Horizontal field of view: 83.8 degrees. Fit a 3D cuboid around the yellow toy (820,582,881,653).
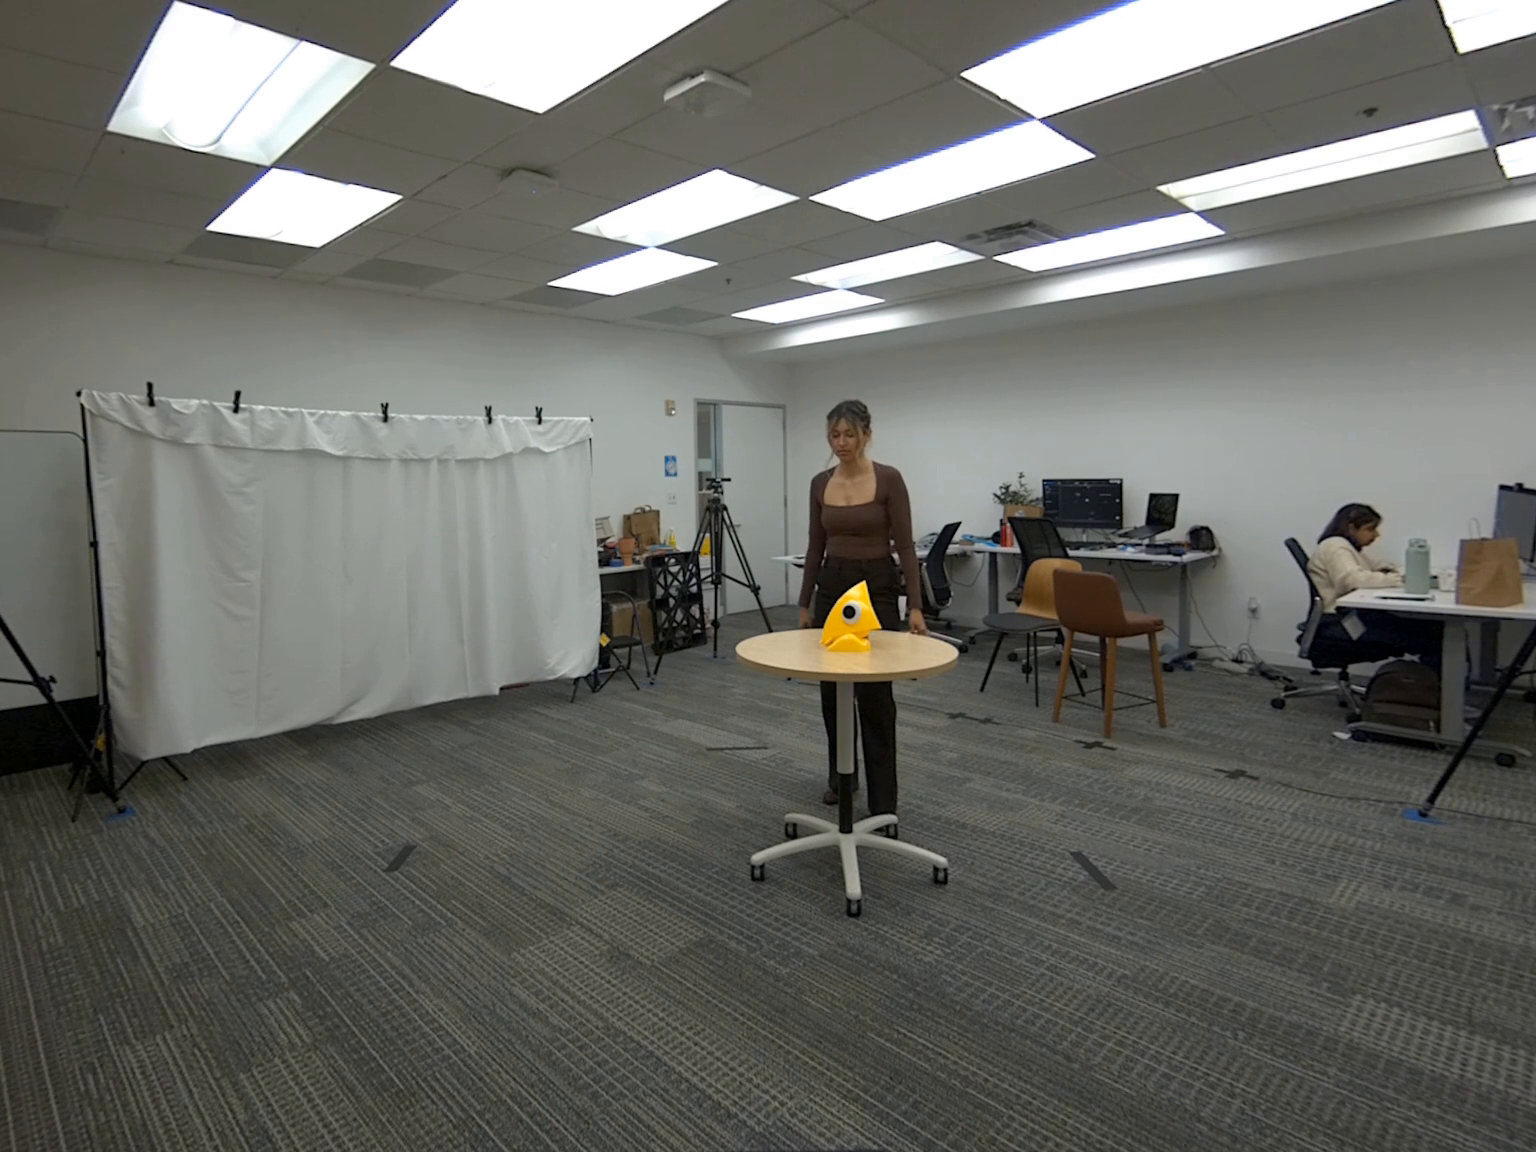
[{"bbox_3d":[0.285,0.136,3.015,0.192,0.229,0.207,-2,6,-7],"label":"yellow toy"}]
